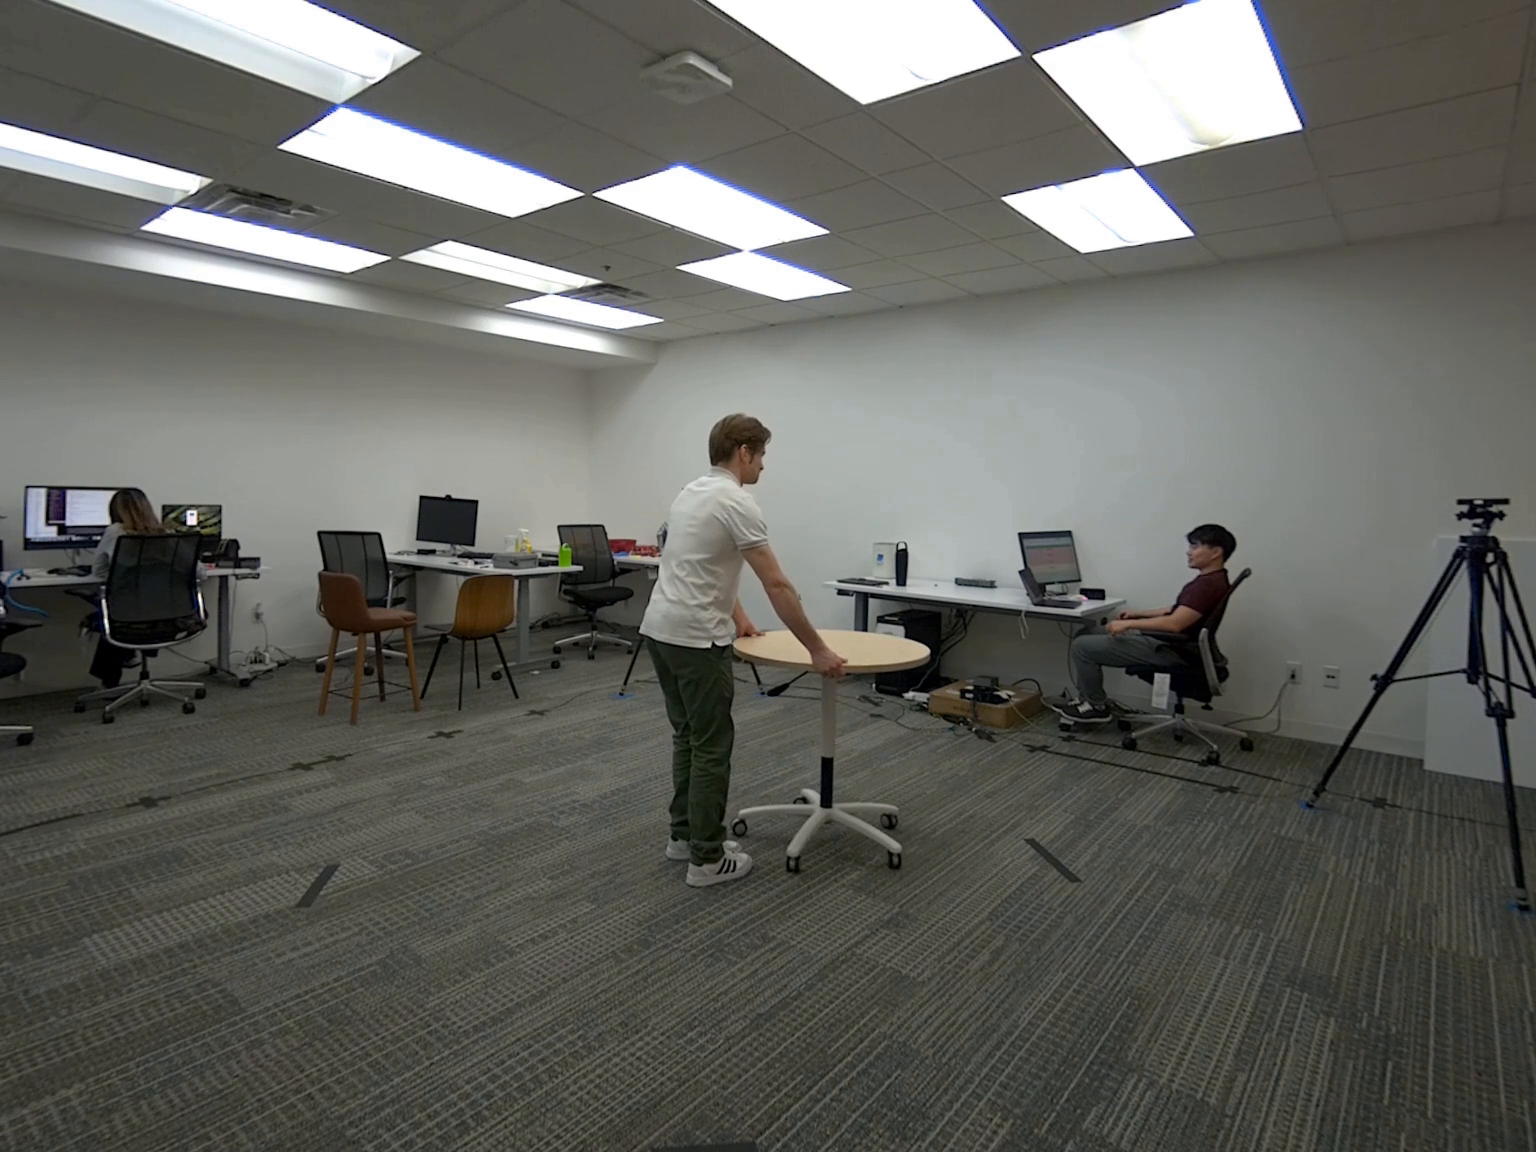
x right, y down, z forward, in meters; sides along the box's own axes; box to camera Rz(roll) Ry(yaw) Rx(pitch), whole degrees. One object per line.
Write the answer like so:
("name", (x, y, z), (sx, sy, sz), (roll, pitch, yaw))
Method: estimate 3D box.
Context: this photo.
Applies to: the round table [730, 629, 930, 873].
("round table", (0.222, 0.662, 3.367), (0.763, 0.791, 0.768), (1, 4, -2))
